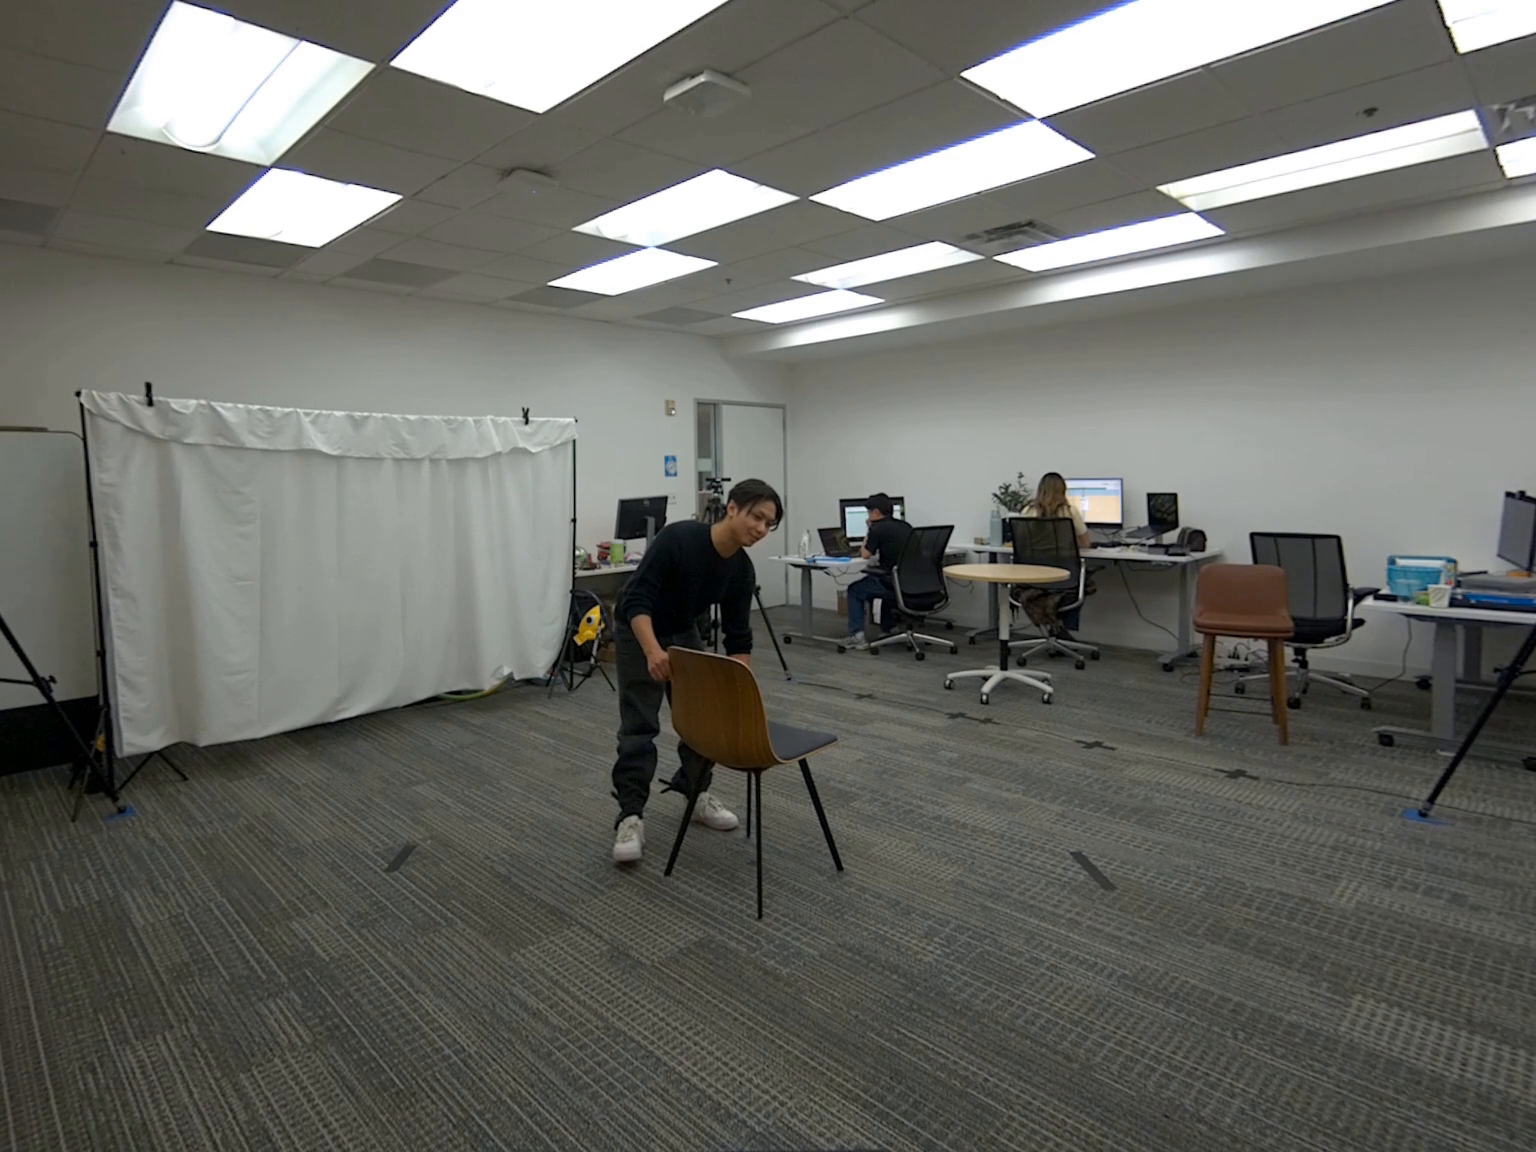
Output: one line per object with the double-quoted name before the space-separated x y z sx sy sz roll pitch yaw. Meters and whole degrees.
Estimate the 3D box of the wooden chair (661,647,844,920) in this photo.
"wooden chair" -0.048 0.624 2.994 0.492 0.871 0.511 3 10 42
